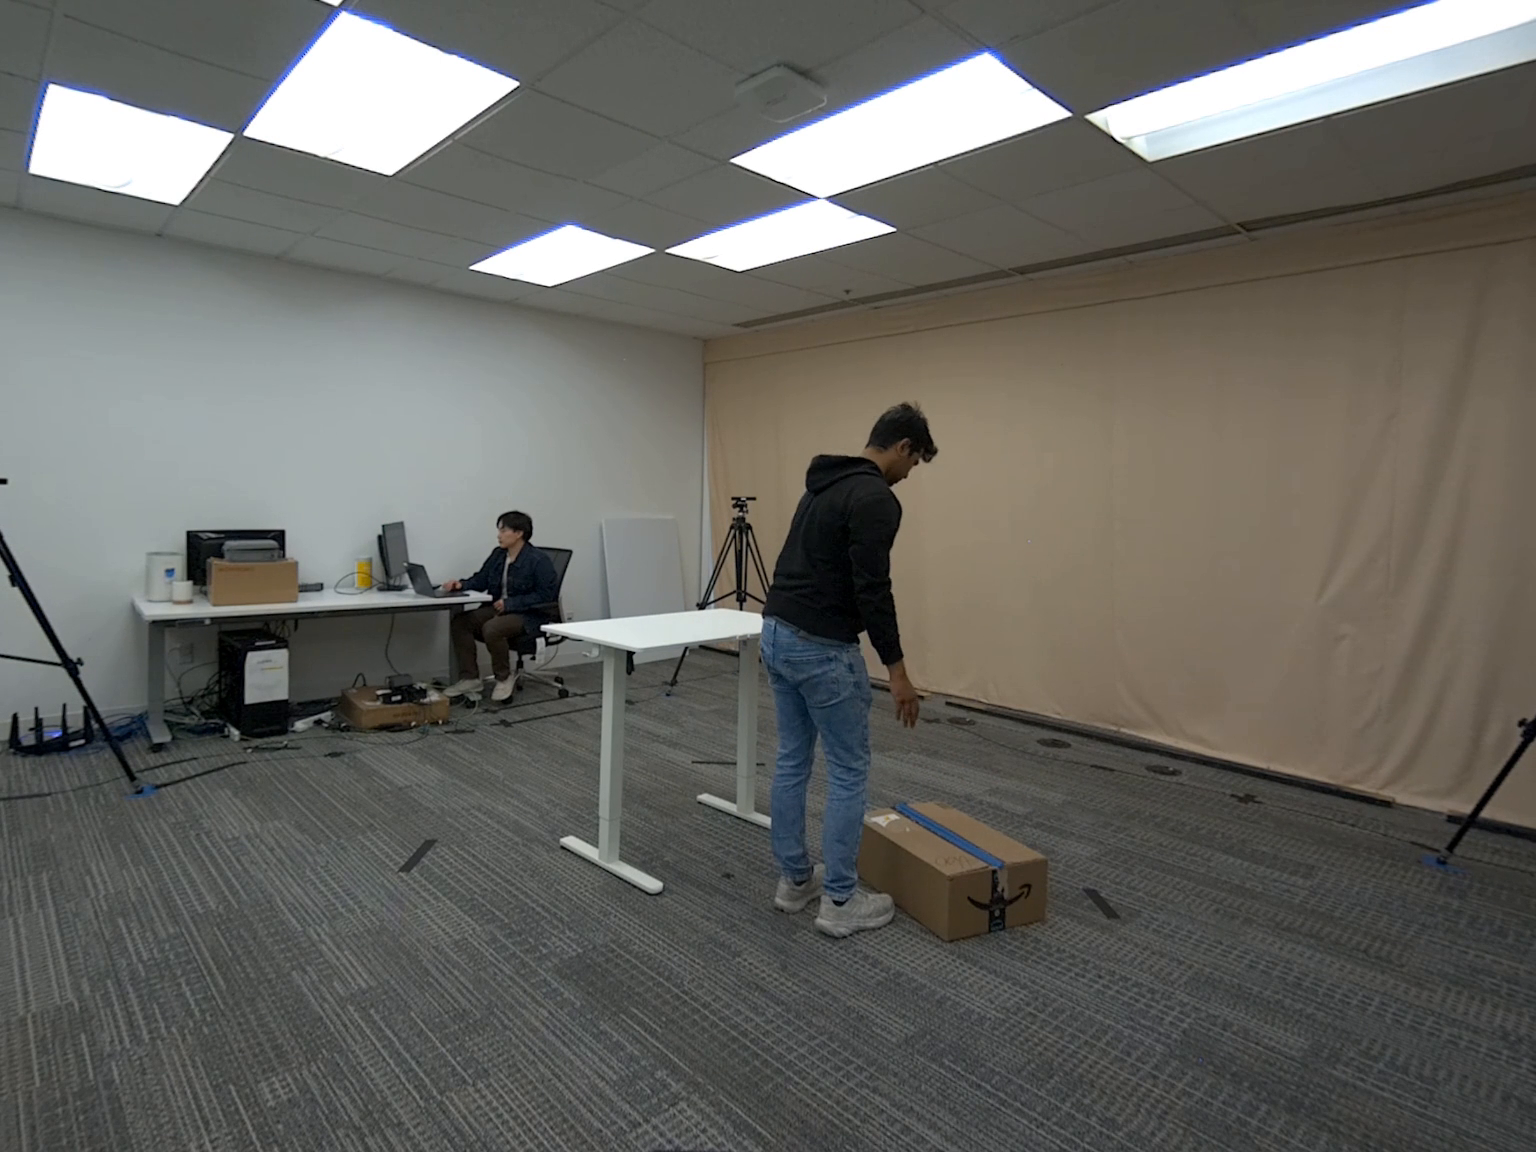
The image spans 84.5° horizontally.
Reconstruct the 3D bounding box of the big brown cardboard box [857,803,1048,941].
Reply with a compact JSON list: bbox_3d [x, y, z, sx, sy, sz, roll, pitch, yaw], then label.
[{"bbox_3d":[0.615,1.025,3.002,0.410,0.232,0.602,0,6,-27],"label":"big brown cardboard box"}]
